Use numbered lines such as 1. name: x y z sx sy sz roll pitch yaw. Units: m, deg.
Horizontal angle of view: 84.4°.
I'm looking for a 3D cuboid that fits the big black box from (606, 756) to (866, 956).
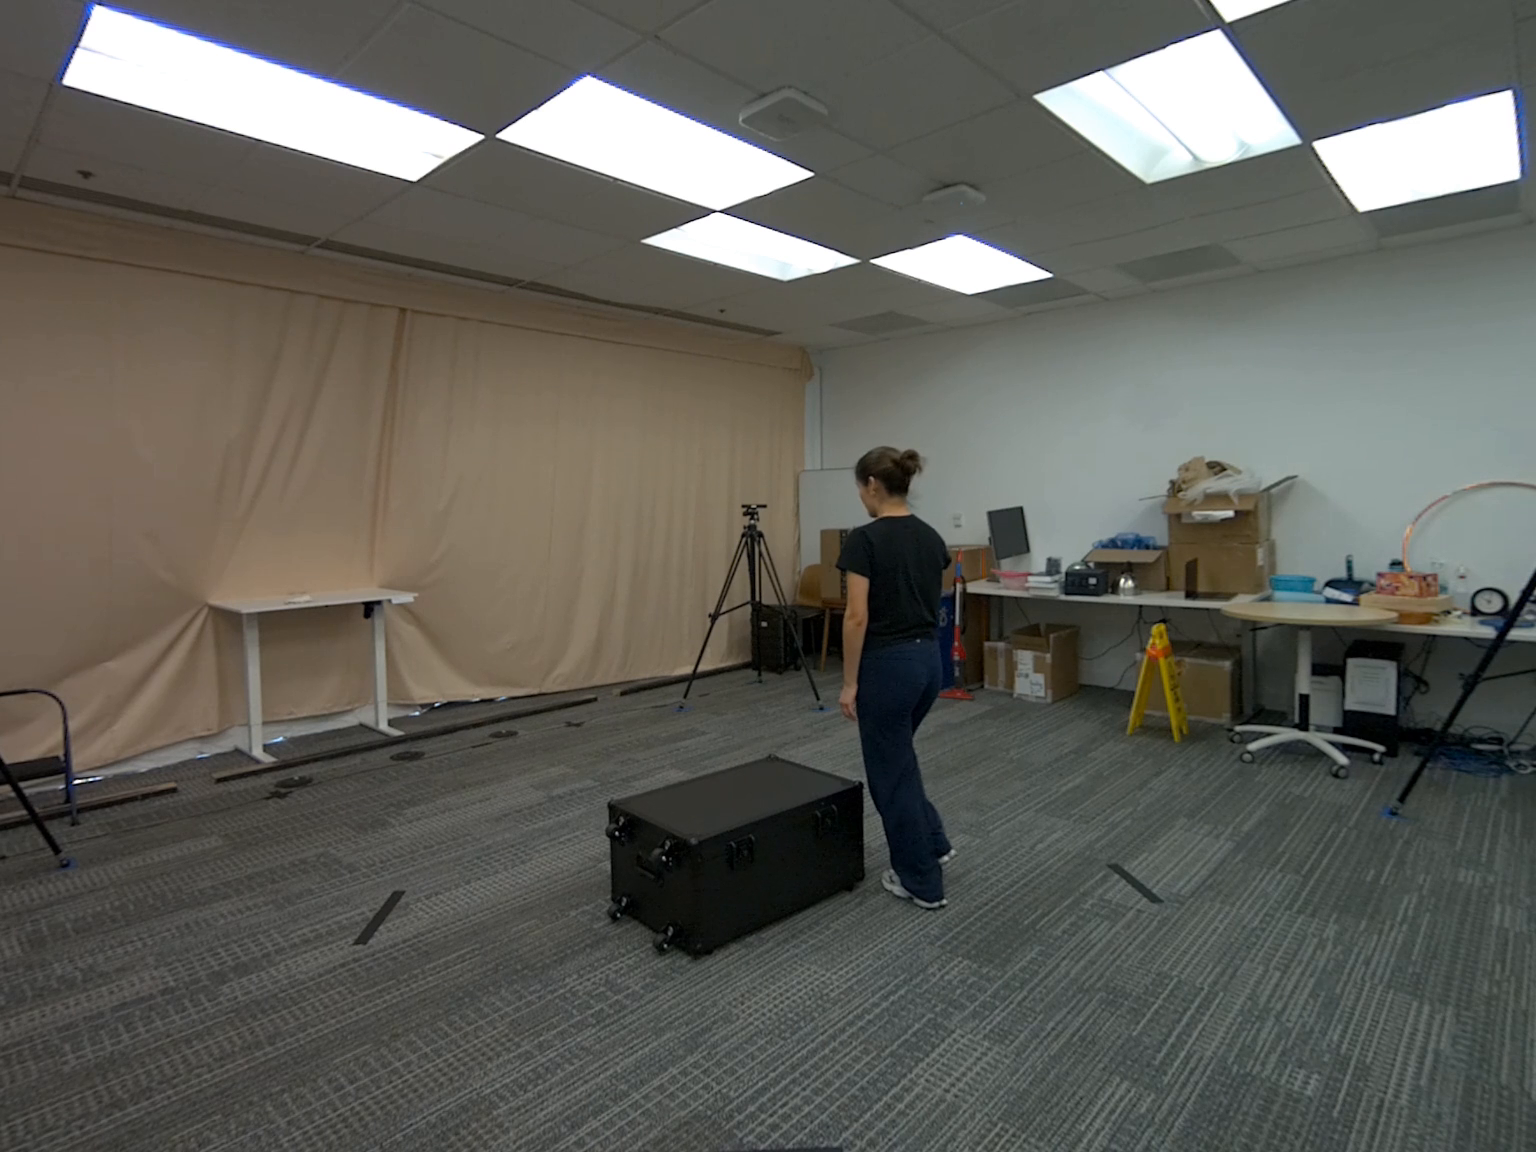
1. big black box: -0.066 0.949 3.001 0.836 0.395 0.538 -6 6 -40
